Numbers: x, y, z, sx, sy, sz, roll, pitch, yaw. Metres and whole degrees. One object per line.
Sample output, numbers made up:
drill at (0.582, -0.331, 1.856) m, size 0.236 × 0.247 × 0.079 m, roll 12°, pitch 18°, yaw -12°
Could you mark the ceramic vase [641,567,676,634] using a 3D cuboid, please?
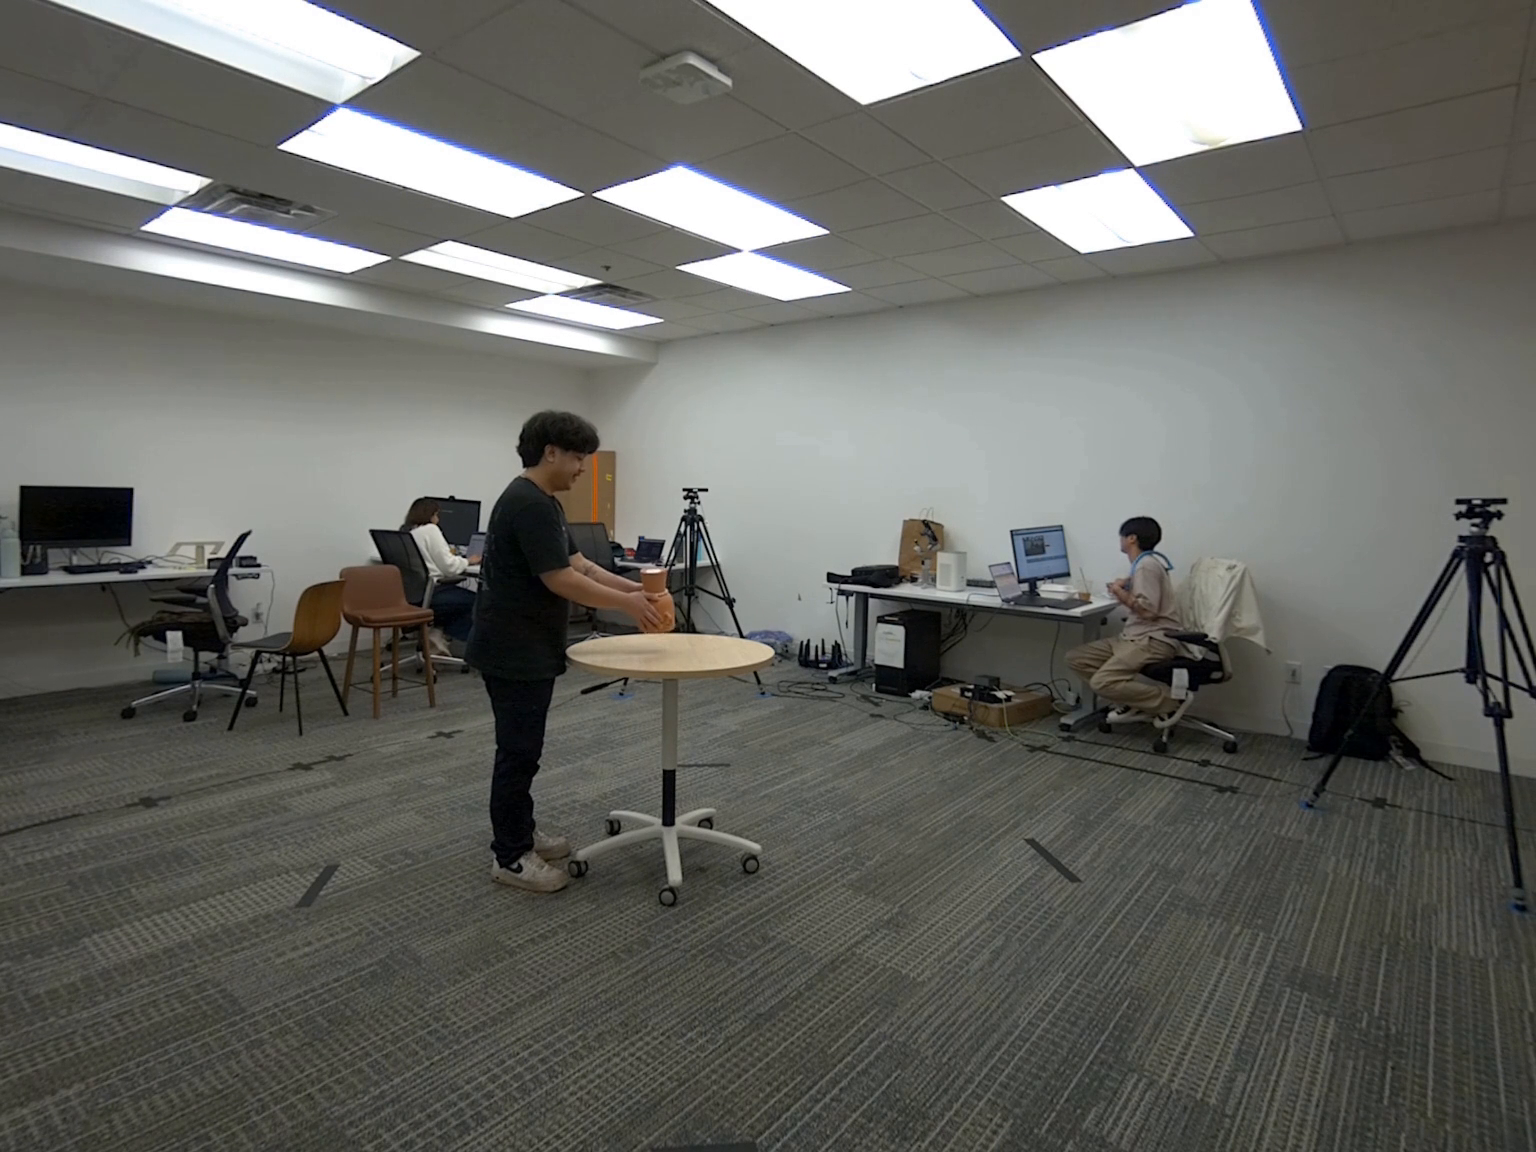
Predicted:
ceramic vase at (-0.432, 0.085, 3.076) m, size 0.160 × 0.217 × 0.135 m, roll -1°, pitch 13°, yaw 7°
